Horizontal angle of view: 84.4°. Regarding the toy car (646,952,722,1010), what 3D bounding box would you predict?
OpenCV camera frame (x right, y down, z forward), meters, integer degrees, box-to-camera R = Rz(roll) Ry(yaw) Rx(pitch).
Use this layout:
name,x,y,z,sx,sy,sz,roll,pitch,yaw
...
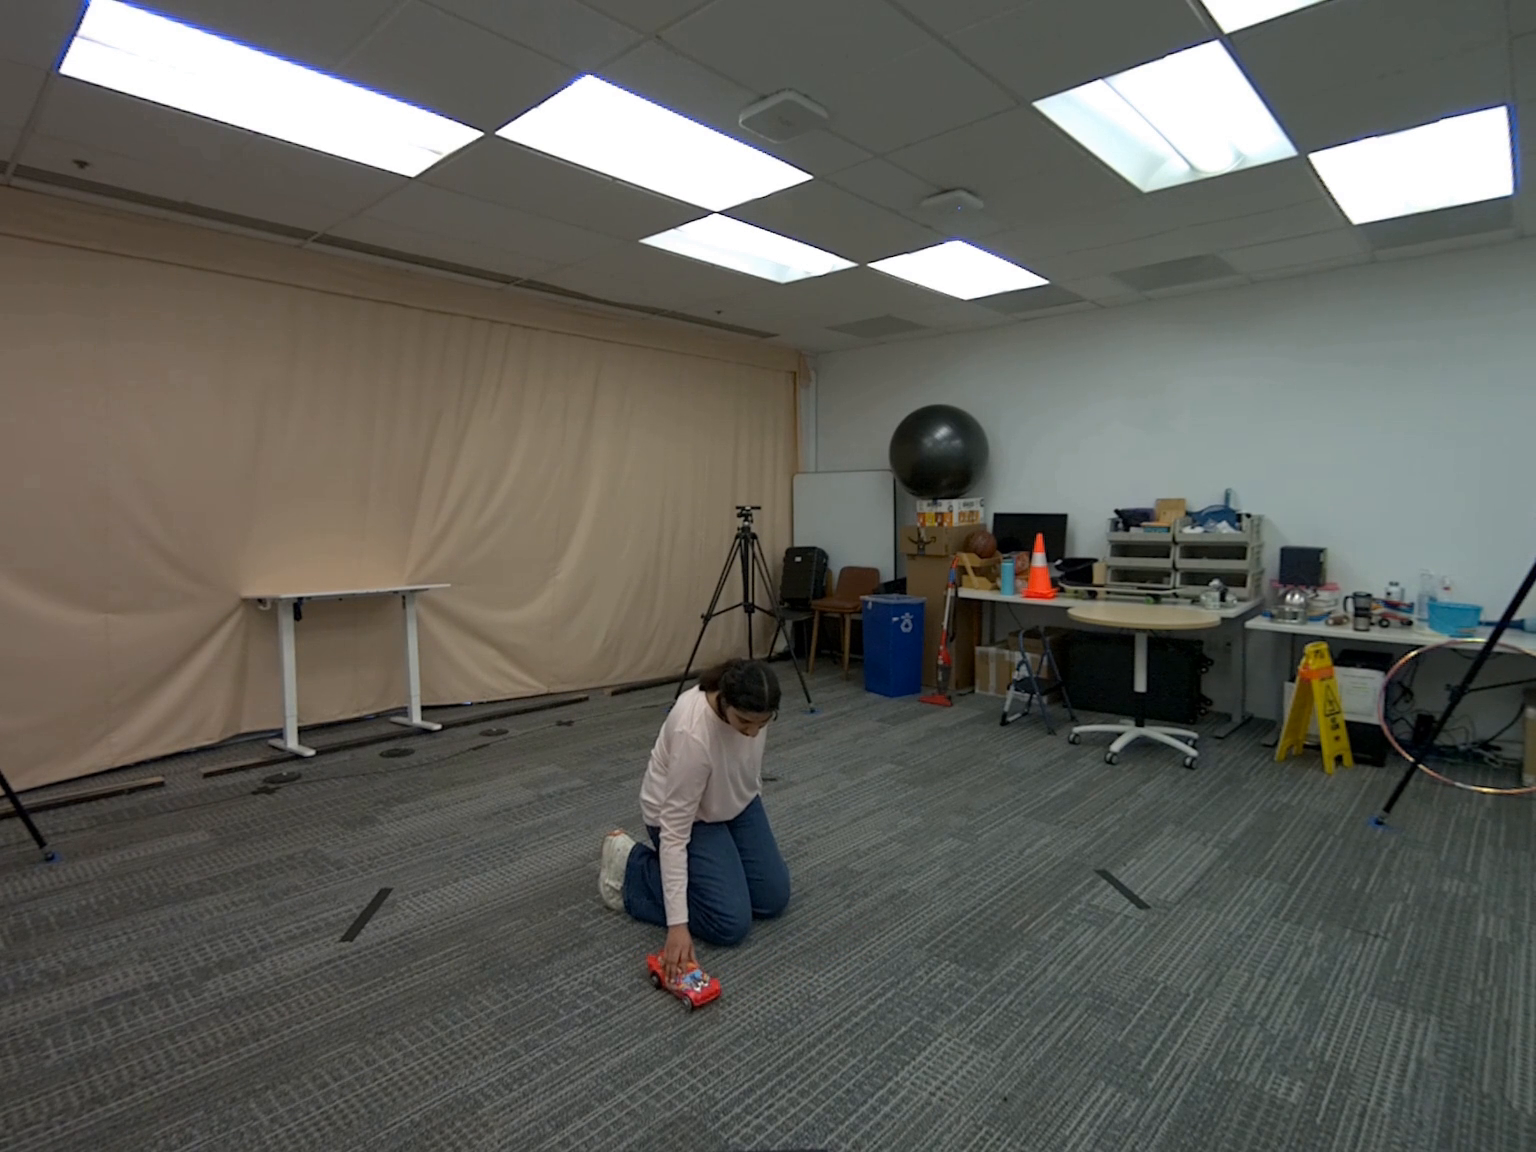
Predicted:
name,x,y,z,sx,sy,sz,roll,pitch,yaw
toy car,-0.251,1.153,2.428,0.126,0.083,0.264,-6,17,-42
